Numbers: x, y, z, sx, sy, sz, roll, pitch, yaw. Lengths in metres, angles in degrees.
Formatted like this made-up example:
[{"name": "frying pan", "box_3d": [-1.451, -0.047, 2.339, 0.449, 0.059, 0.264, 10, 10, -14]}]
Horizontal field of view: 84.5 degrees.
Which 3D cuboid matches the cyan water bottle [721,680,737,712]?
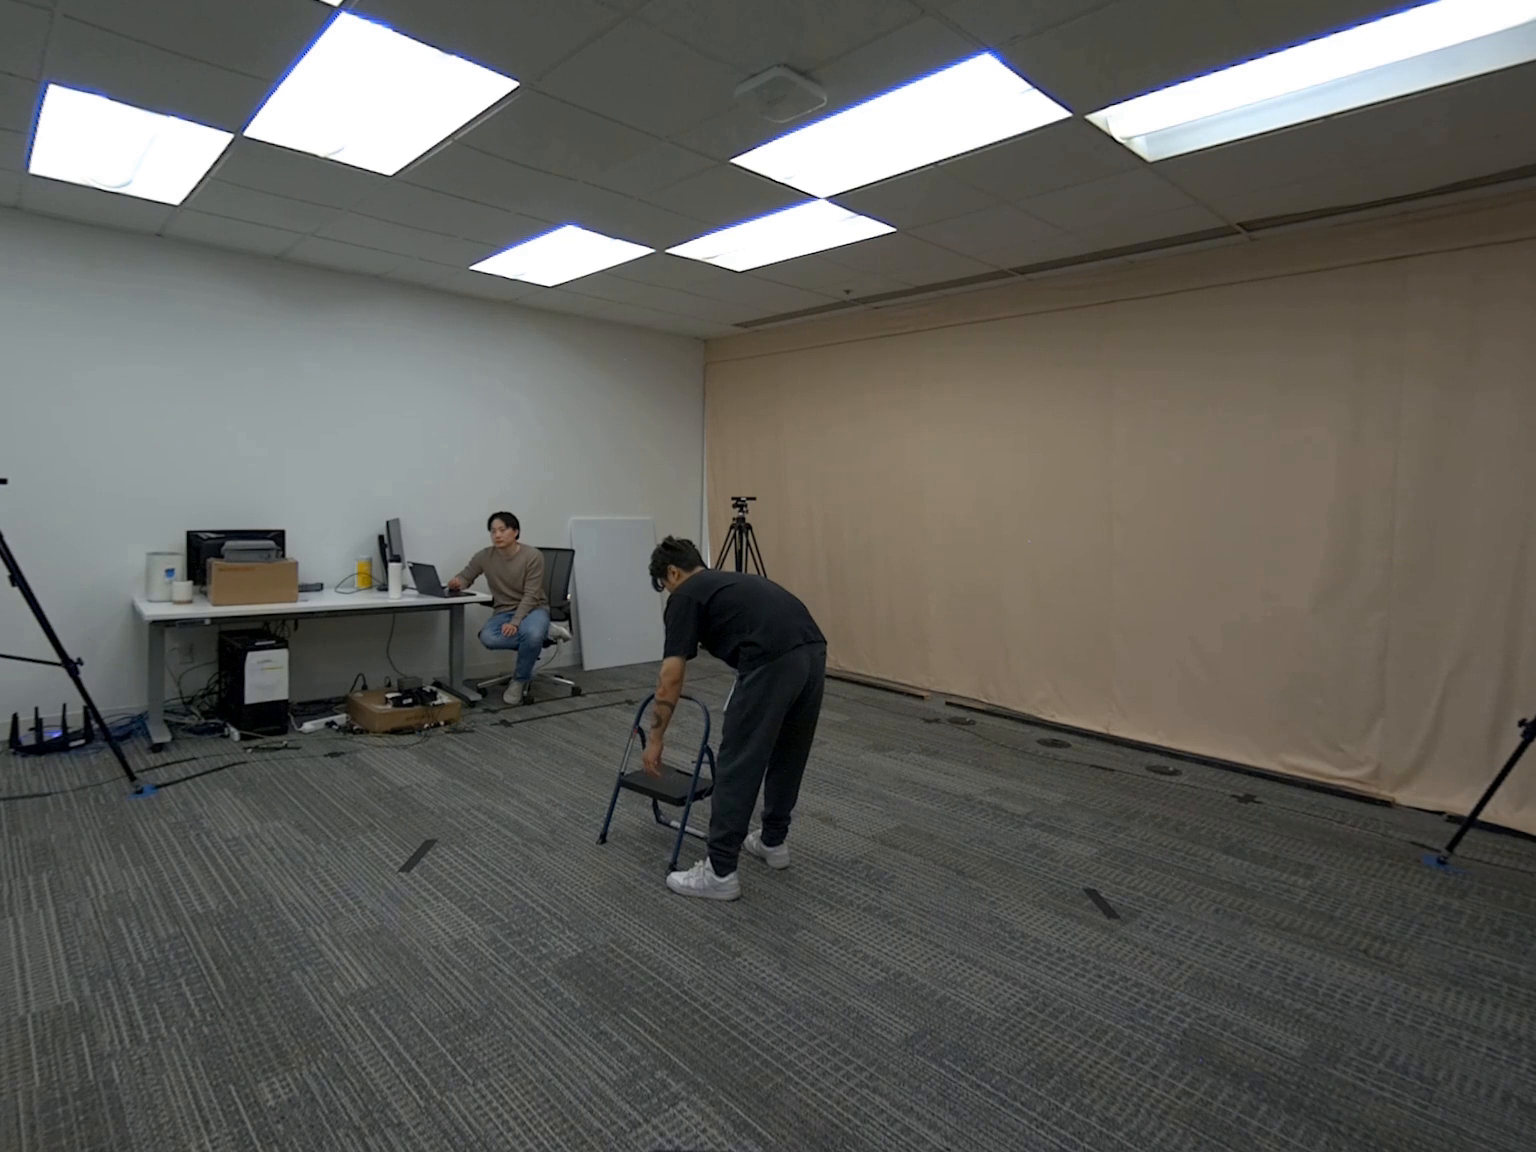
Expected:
[{"name": "cyan water bottle", "box_3d": [-0.119, 0.492, 3.594, 0.094, 0.090, 0.286, 2, 43, 19]}]
